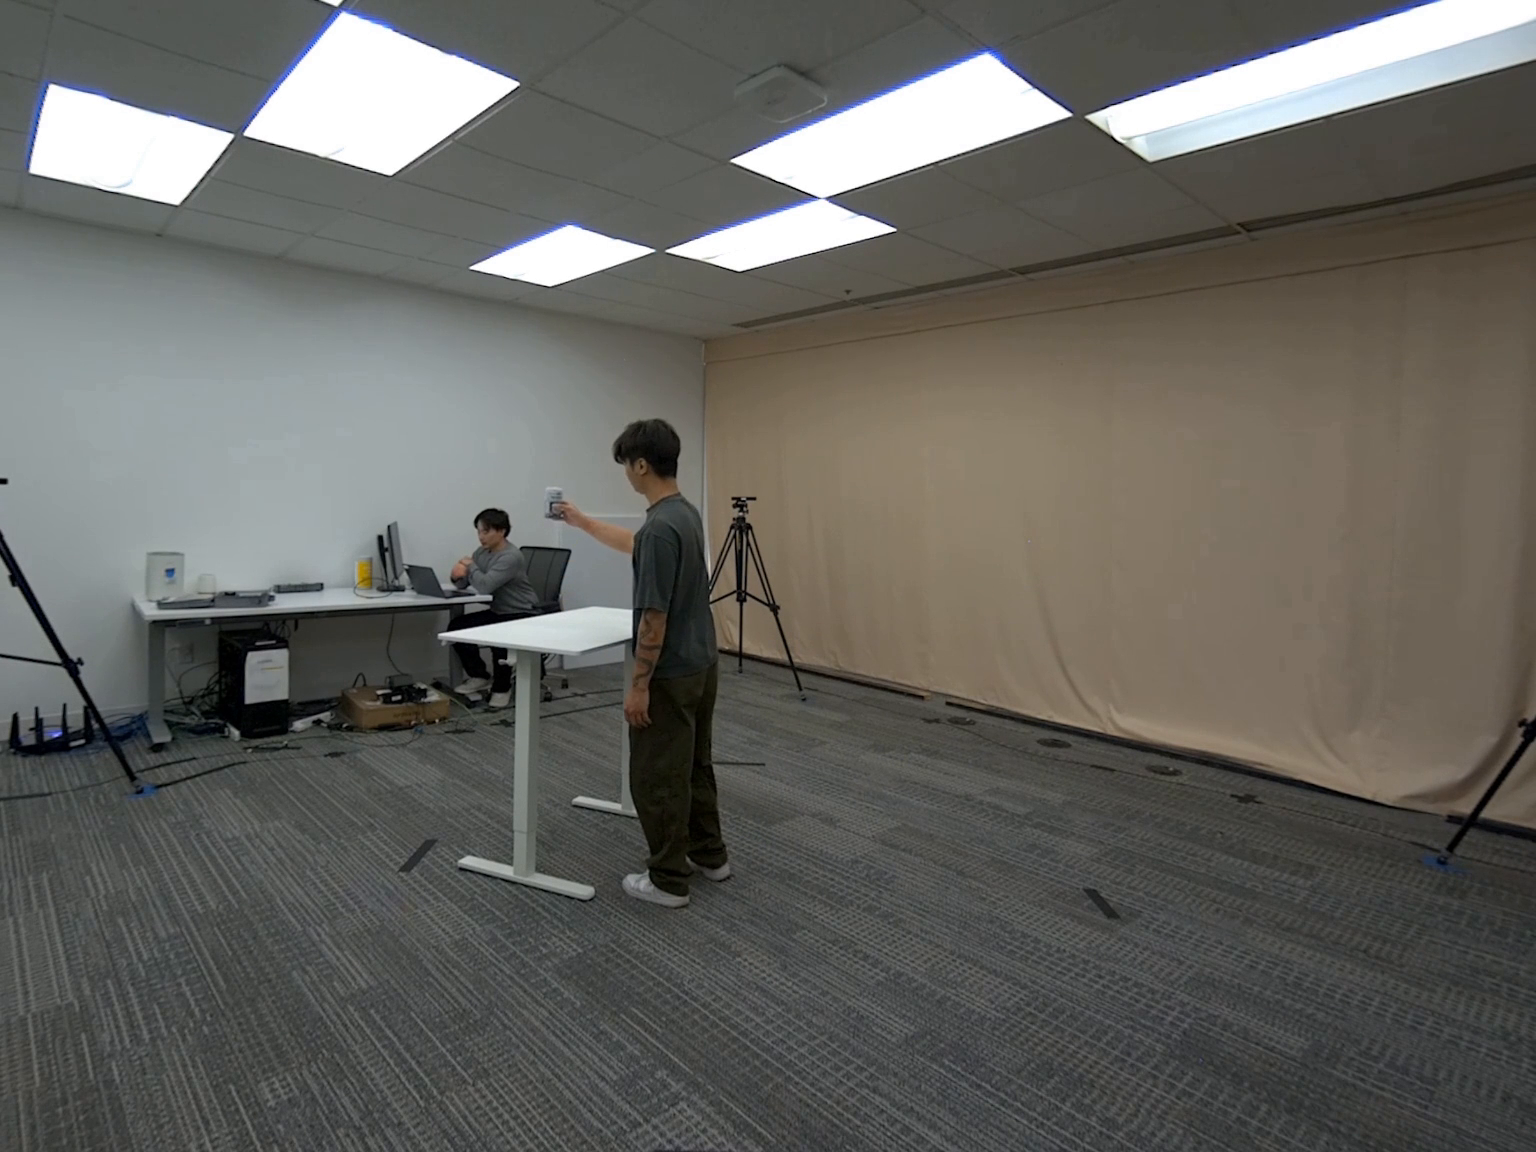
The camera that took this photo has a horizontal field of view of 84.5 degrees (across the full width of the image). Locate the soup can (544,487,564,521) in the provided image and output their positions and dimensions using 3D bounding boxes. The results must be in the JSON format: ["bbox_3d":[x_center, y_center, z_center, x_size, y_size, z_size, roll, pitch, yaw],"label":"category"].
[{"bbox_3d":[-0.855,-0.290,3.304,0.067,0.120,0.068,0,11,-1],"label":"soup can"}]
